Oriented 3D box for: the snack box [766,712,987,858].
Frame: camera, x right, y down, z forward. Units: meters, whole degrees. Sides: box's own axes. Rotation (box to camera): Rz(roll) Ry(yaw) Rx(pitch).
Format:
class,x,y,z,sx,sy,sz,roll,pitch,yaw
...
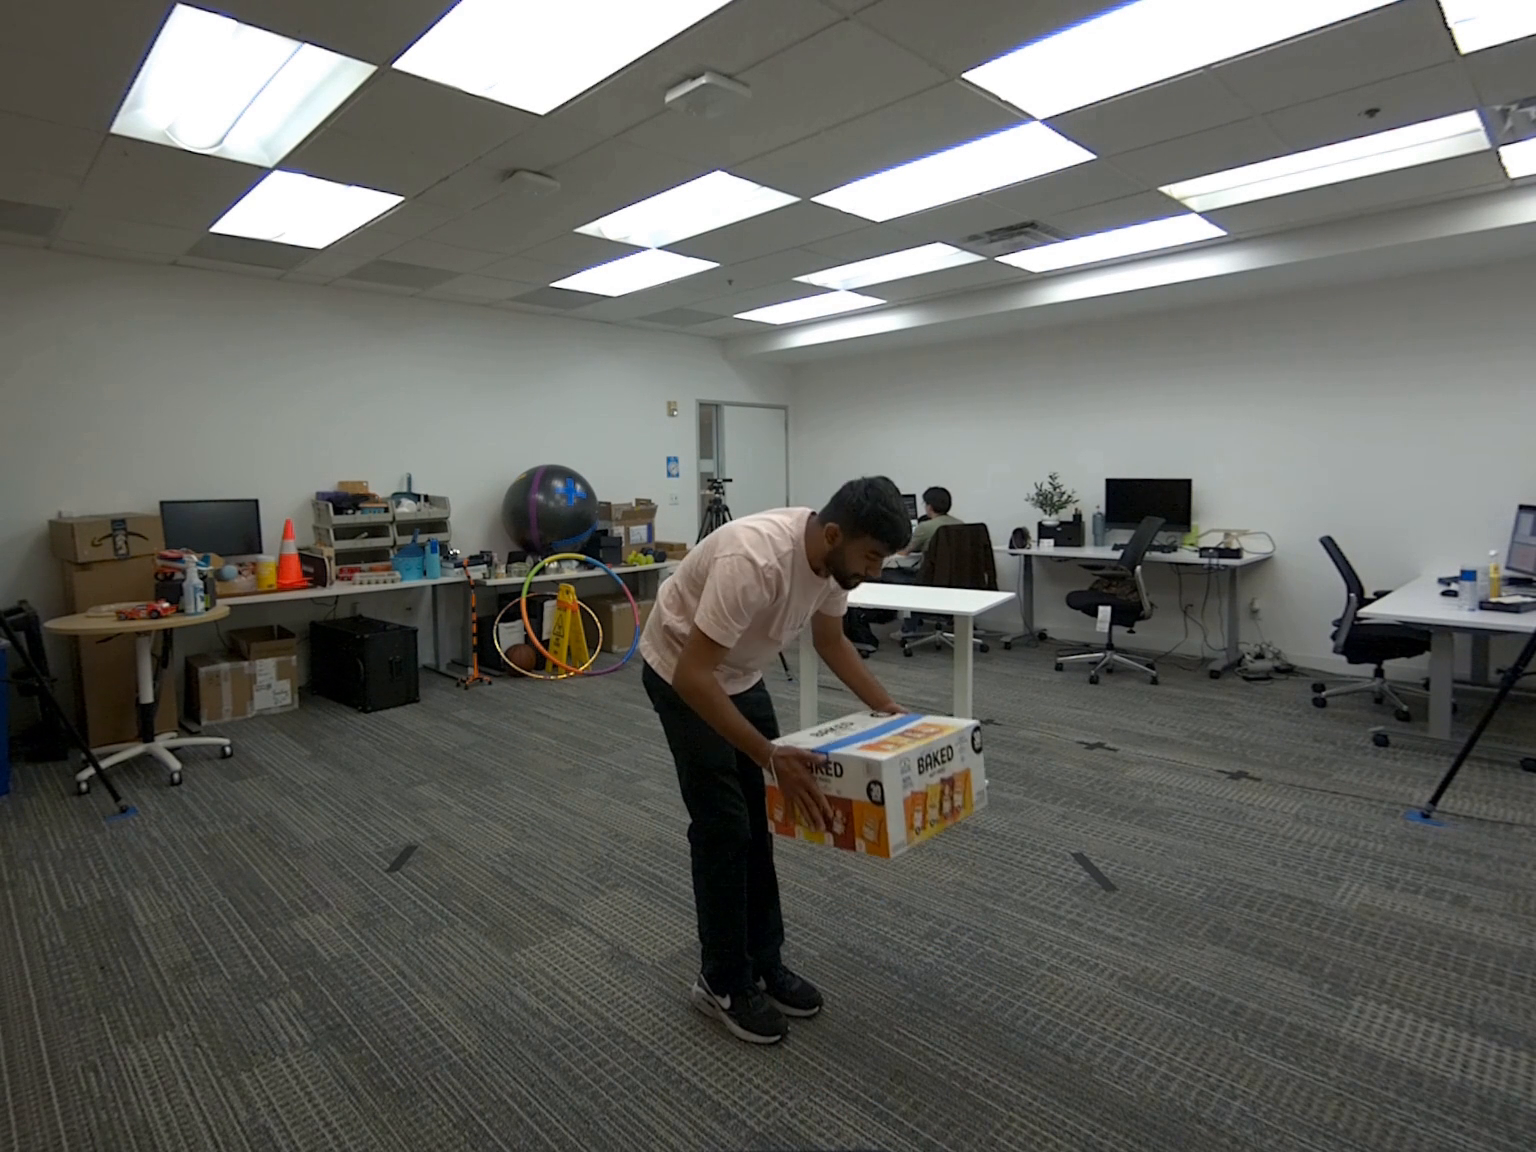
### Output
class,x,y,z,sx,sy,sz,roll,pitch,yaw
snack box,0.245,0.464,1.991,0.349,0.206,0.394,-3,2,44
